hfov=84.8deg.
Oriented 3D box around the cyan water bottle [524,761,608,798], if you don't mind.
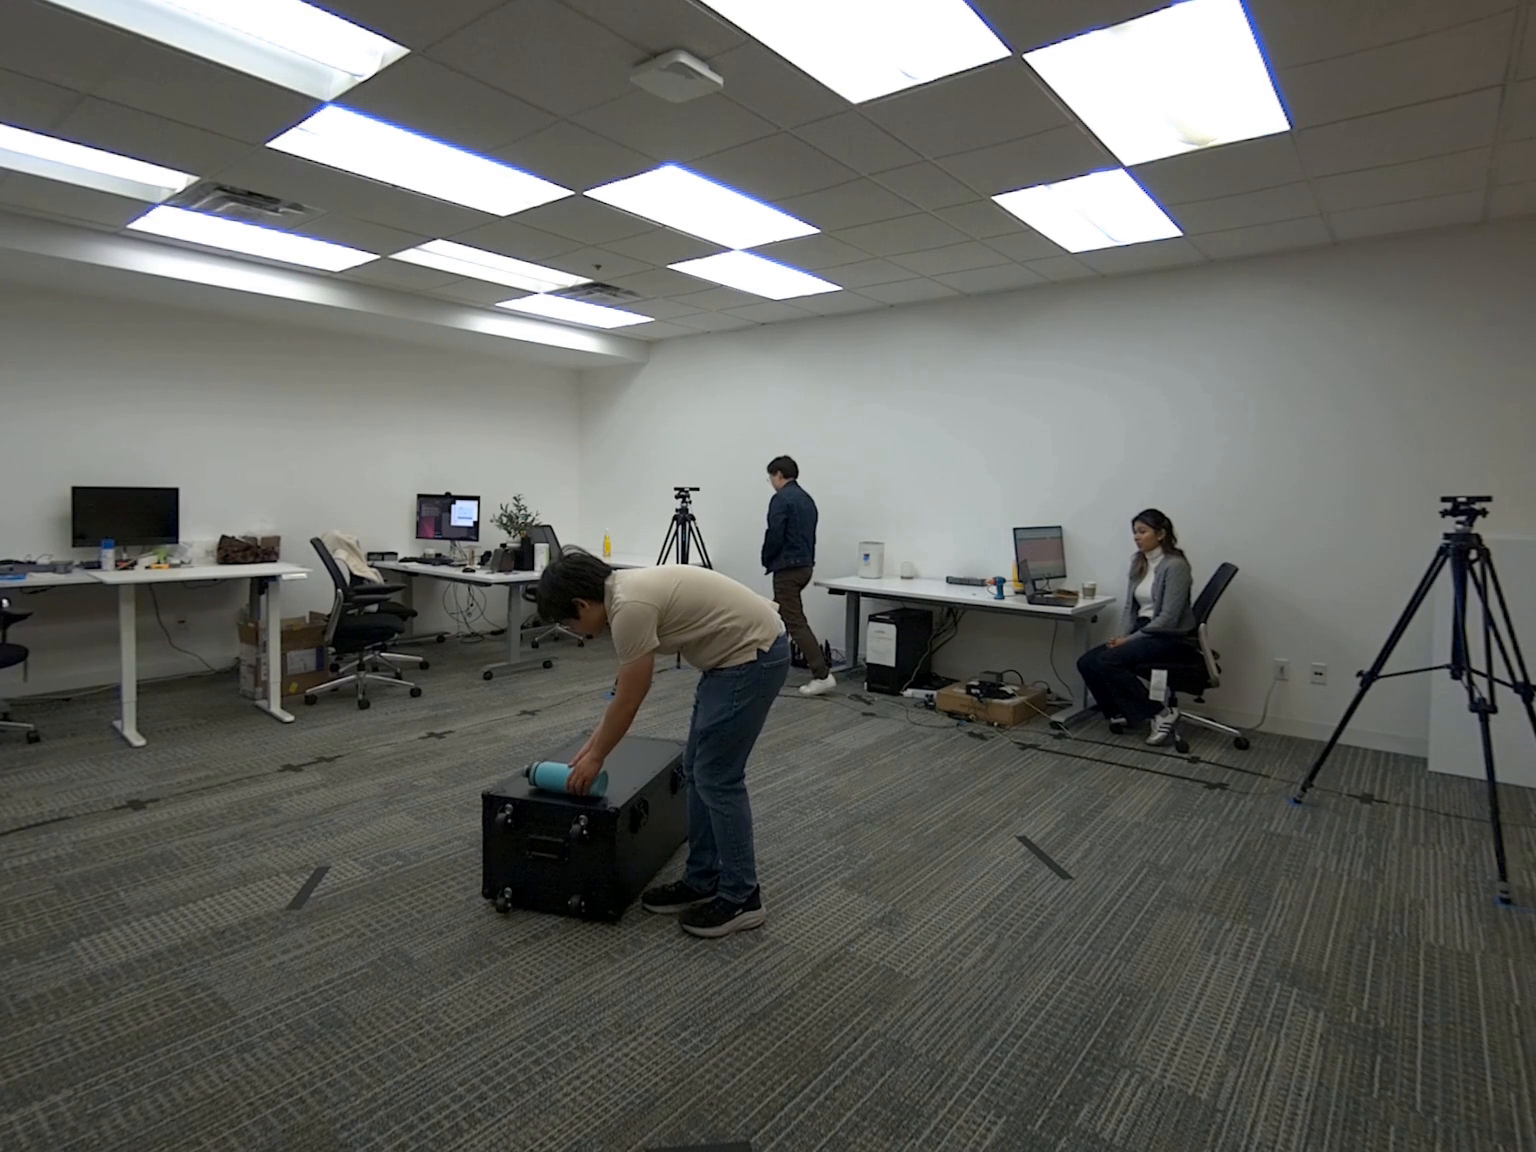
[{"bbox_3d":[-0.689,0.669,2.826,0.288,0.092,0.091,4,5,13],"label":"cyan water bottle"}]
